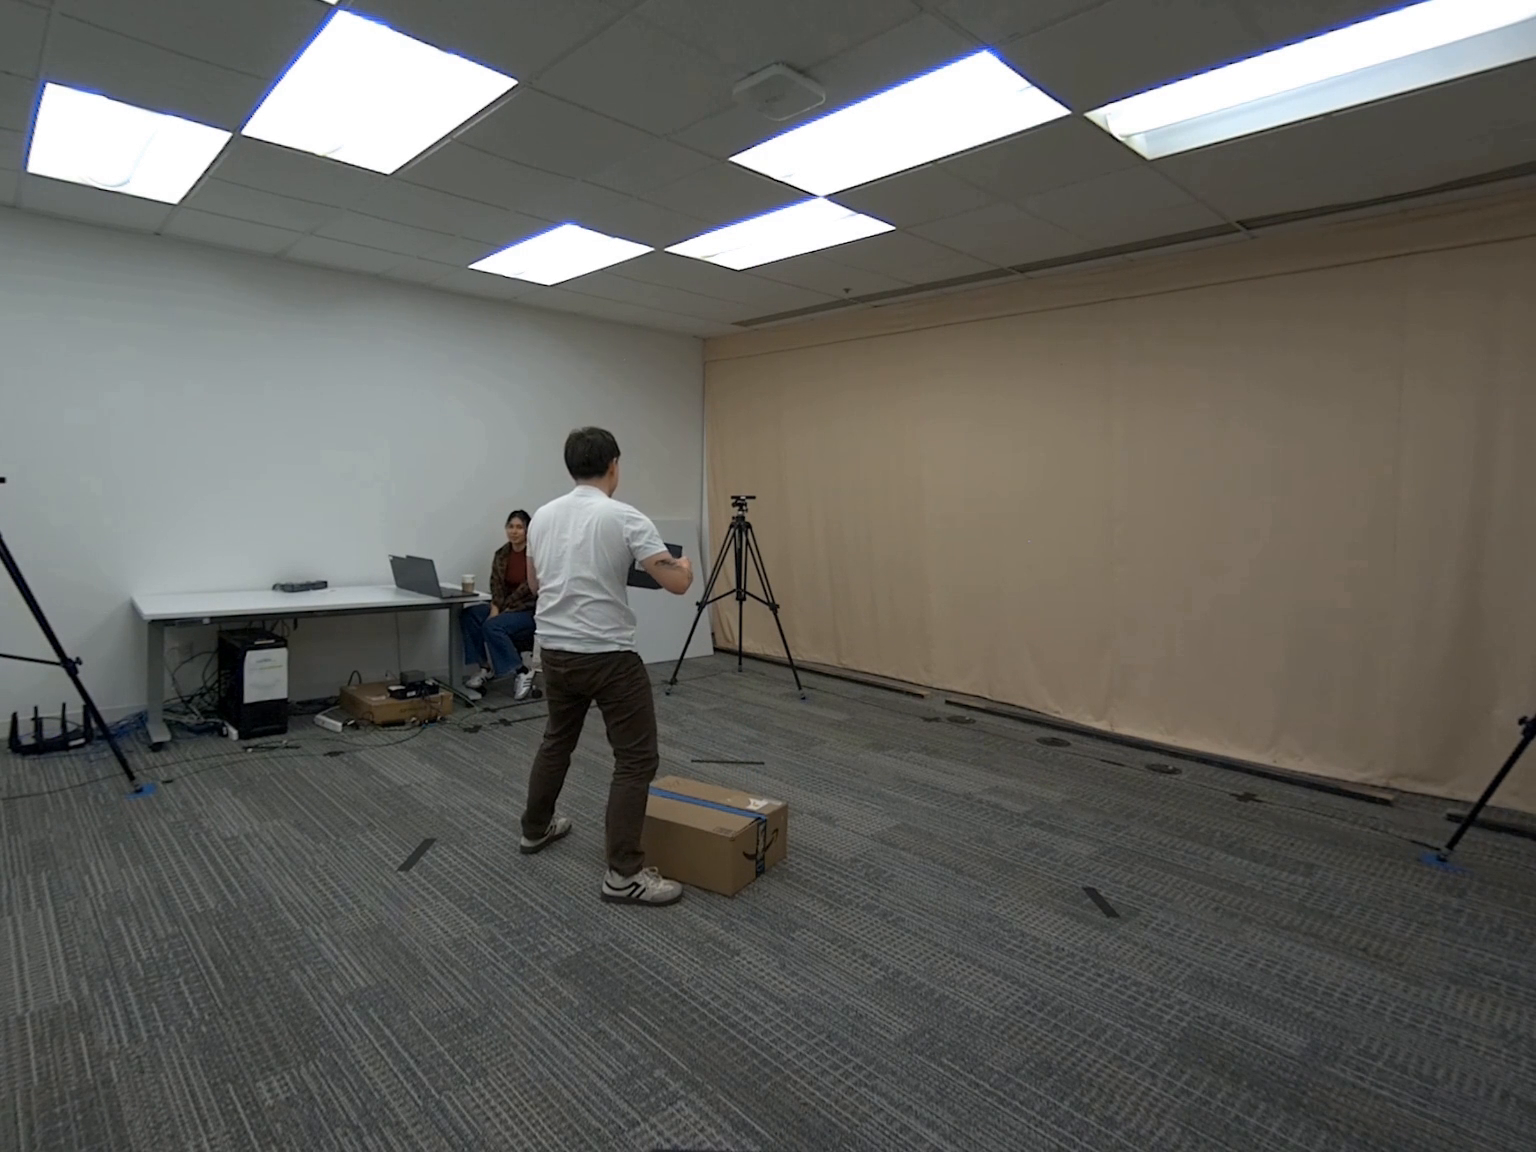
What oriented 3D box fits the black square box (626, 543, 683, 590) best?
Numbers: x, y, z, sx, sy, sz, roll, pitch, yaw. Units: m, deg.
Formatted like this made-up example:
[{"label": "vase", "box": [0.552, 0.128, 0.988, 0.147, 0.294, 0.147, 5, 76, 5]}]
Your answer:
[{"label": "black square box", "box": [-0.488, -0.040, 3.303, 0.212, 0.157, 0.231, 10, -12, -31]}]
